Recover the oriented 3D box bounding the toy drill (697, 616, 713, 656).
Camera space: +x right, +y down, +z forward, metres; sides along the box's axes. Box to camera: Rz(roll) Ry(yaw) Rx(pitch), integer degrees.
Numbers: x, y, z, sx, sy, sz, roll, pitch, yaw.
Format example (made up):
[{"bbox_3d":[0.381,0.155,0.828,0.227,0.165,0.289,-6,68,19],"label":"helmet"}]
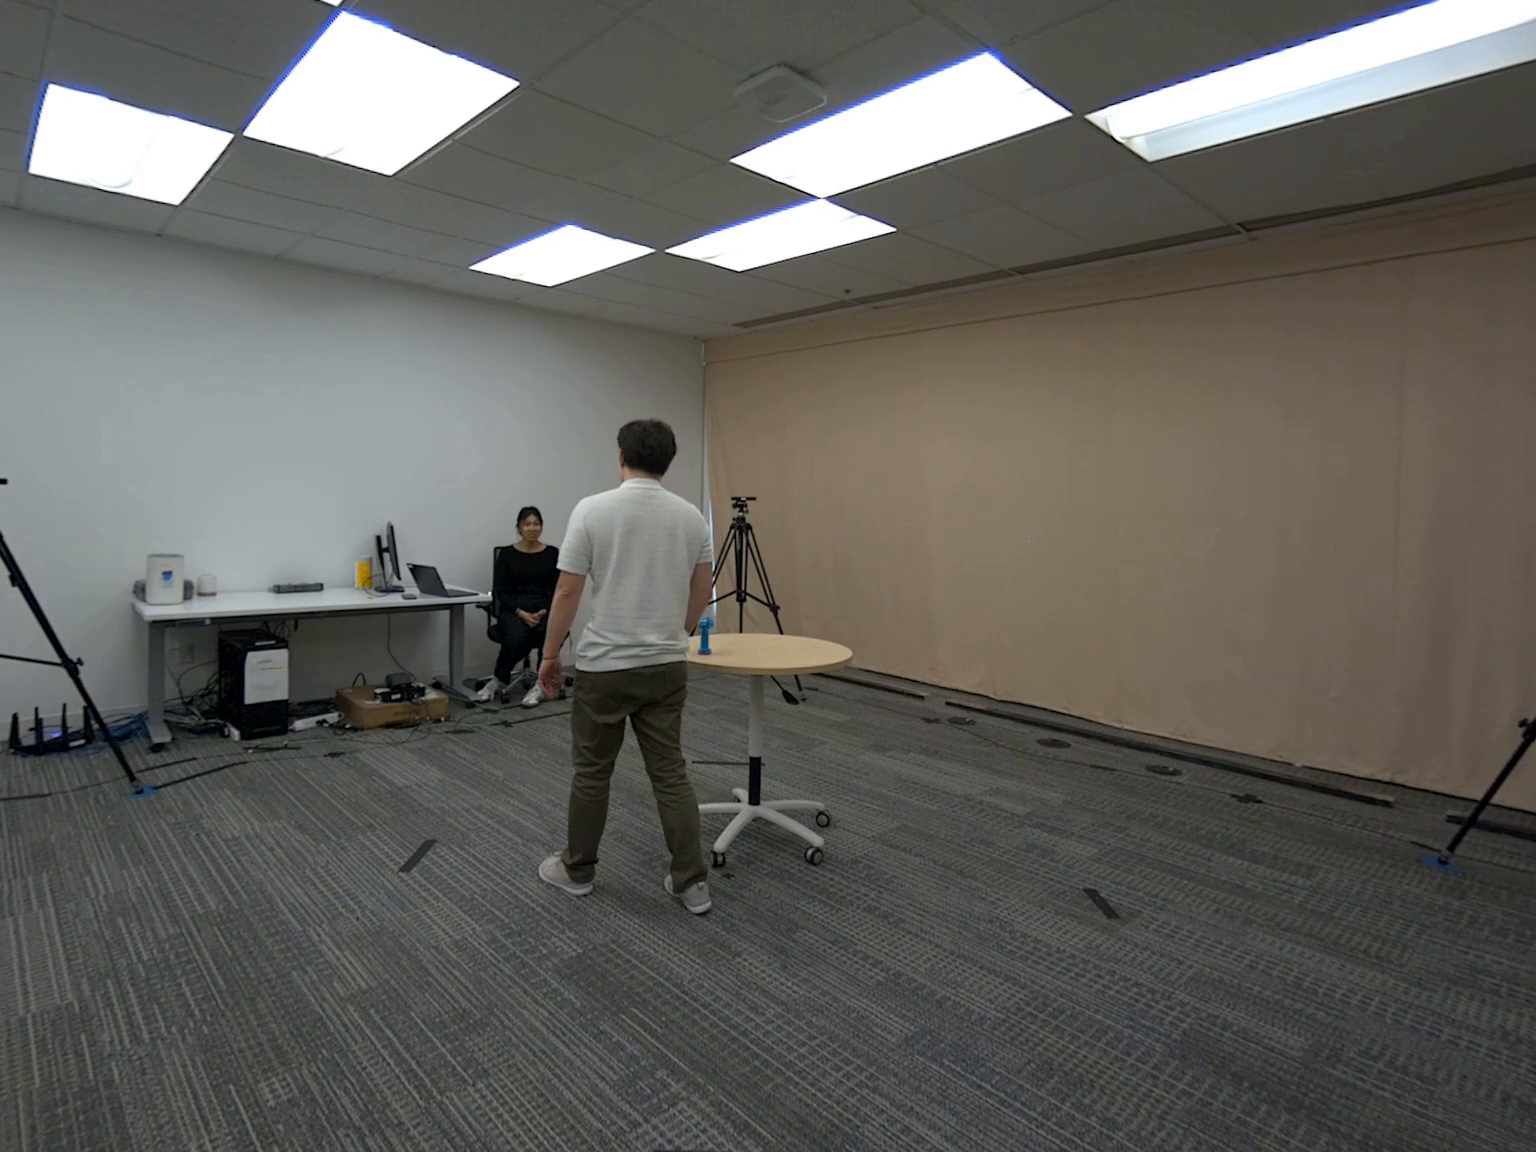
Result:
[{"bbox_3d":[-0.249,0.228,3.337,0.061,0.146,0.170,0,3,1],"label":"toy drill"}]
